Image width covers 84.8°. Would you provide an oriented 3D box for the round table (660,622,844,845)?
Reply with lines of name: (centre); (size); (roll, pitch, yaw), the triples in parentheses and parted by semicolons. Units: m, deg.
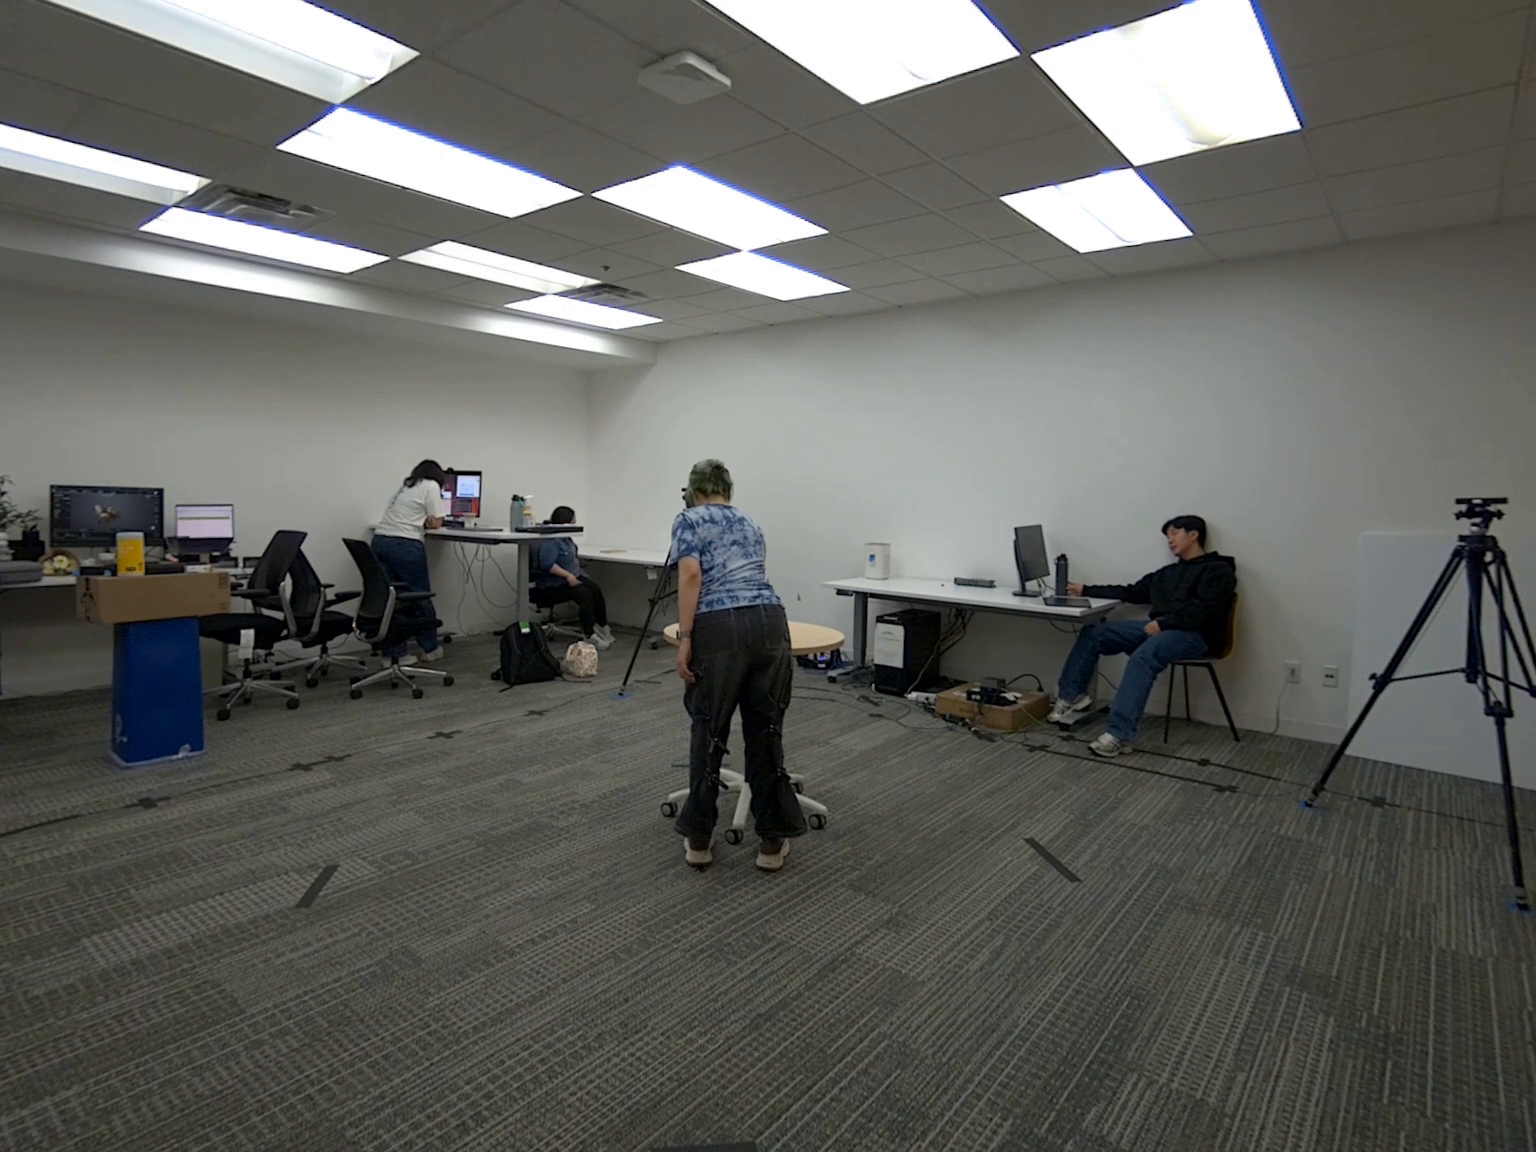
round table: (-0.070, 0.626, 3.628); (0.784, 0.784, 0.789); (1, 4, -2)
